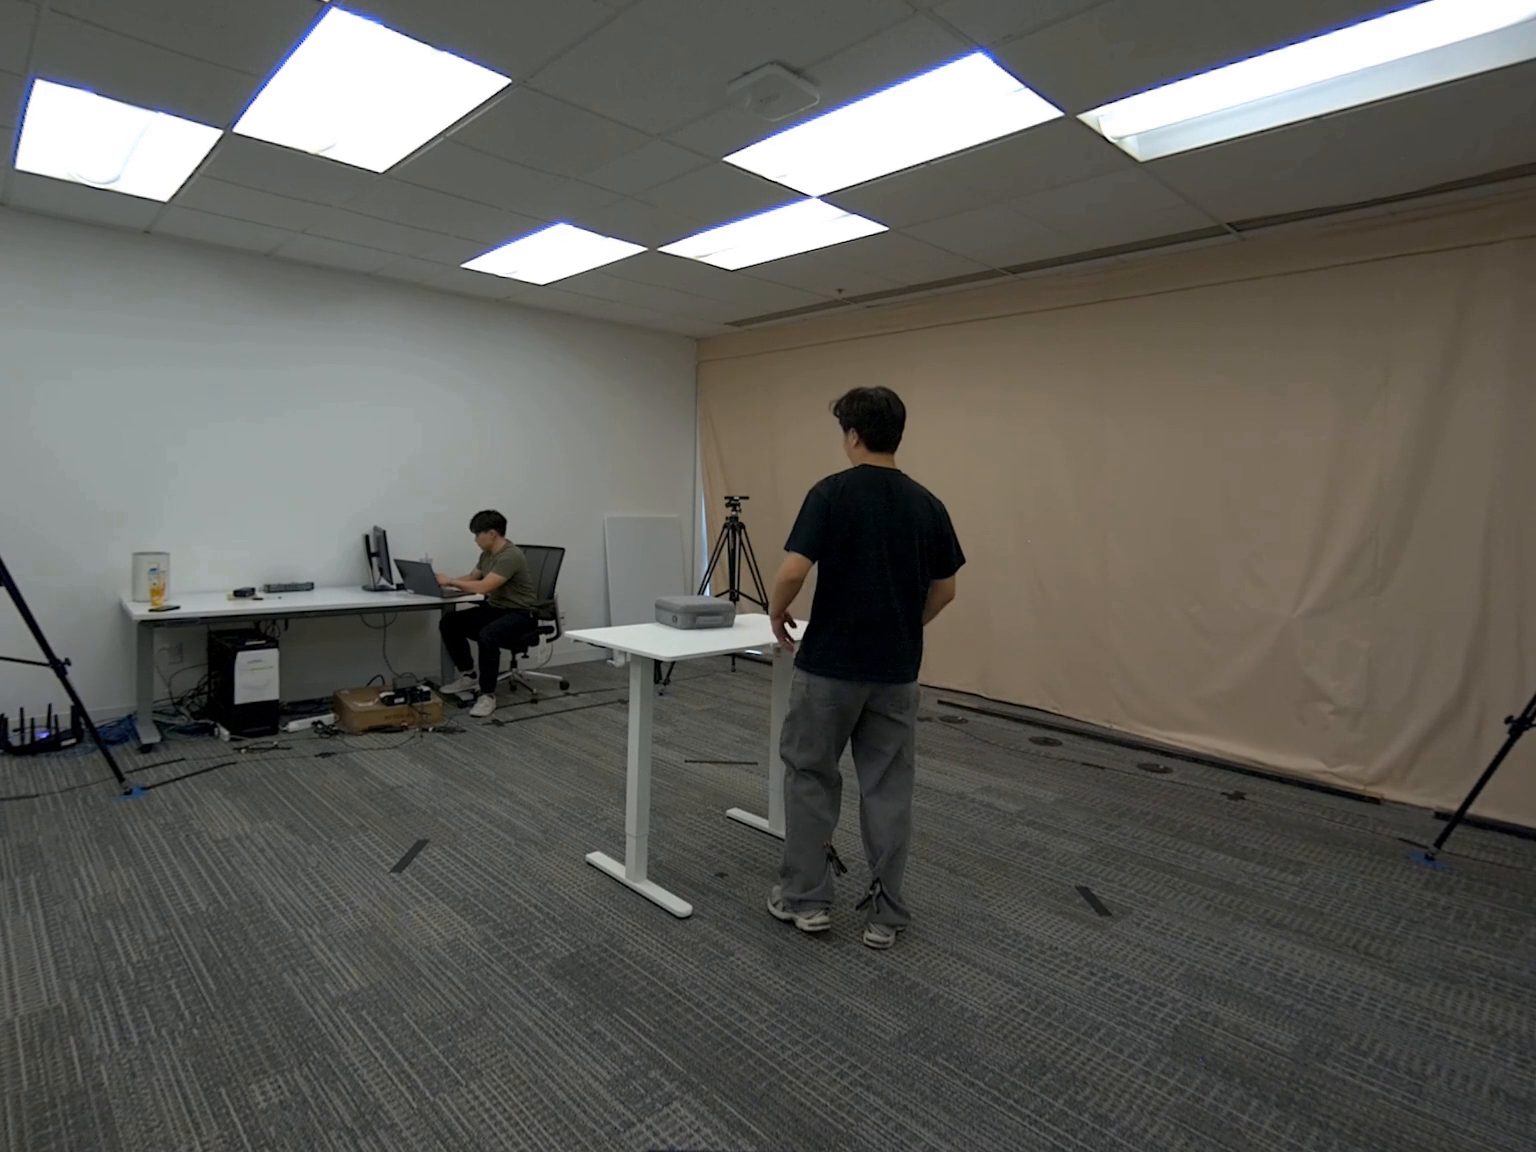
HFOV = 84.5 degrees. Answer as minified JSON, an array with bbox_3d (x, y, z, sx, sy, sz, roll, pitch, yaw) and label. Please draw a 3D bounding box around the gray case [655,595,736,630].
[{"bbox_3d":[-0.296,0.142,3.358,0.251,0.104,0.267,0,6,-32],"label":"gray case"}]
